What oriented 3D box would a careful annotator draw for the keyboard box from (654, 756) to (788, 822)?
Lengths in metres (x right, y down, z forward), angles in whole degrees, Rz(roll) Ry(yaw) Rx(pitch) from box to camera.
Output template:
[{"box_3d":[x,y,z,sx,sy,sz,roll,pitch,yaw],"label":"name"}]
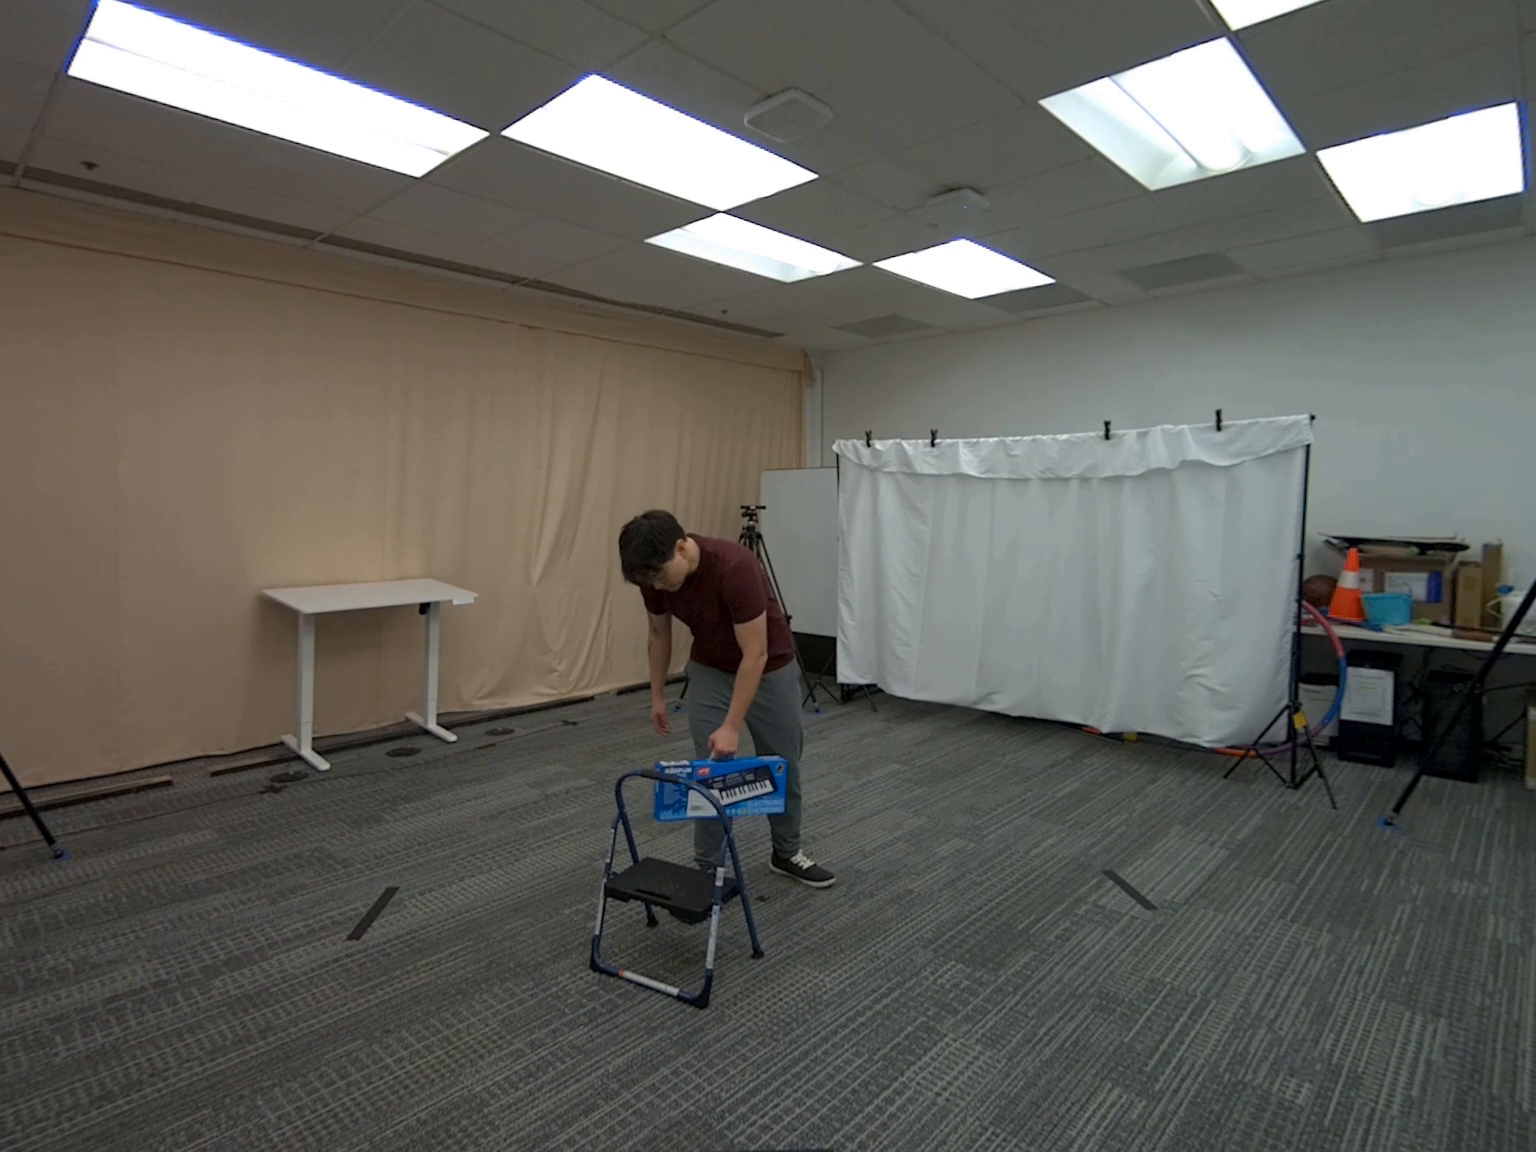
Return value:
[{"box_3d":[-0.145,0.672,2.688,0.426,0.176,0.060,3,-1,-24],"label":"keyboard box"}]
